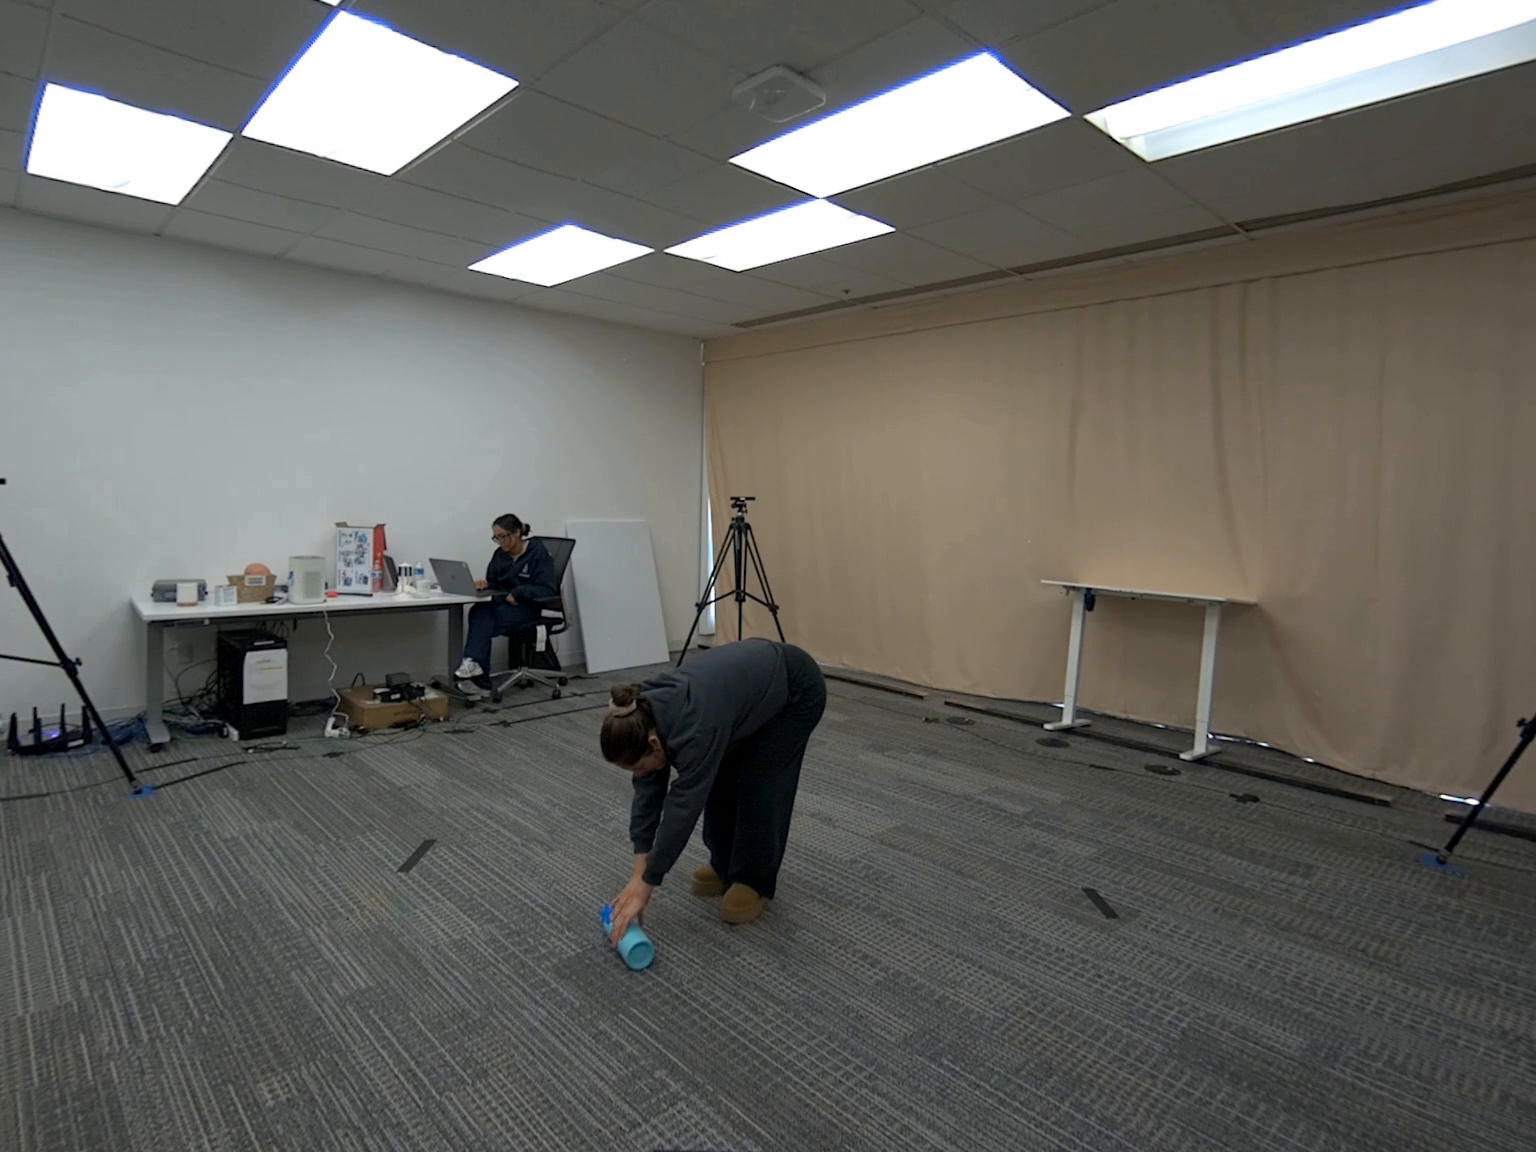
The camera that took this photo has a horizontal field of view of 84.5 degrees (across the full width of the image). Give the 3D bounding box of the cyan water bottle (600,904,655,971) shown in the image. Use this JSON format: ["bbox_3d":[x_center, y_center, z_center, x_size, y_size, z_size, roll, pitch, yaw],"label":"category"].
[{"bbox_3d":[-0.440,1.105,2.598,0.090,0.092,0.289,-1,5,-27],"label":"cyan water bottle"}]
